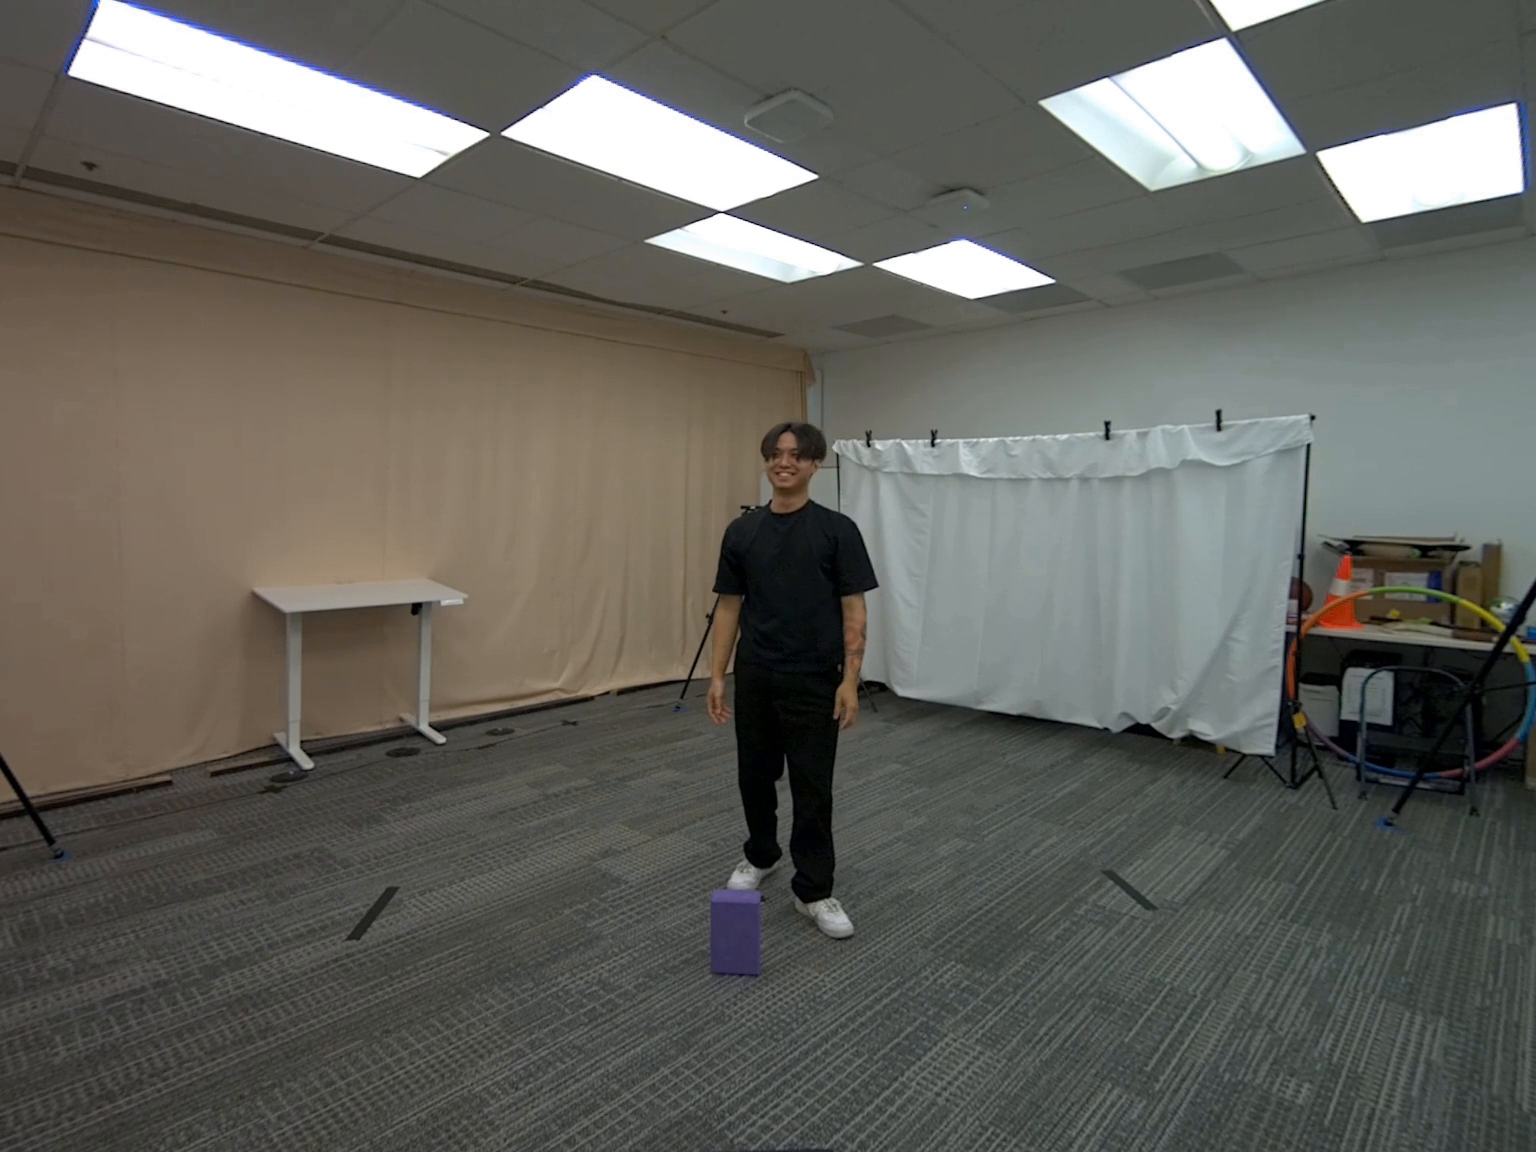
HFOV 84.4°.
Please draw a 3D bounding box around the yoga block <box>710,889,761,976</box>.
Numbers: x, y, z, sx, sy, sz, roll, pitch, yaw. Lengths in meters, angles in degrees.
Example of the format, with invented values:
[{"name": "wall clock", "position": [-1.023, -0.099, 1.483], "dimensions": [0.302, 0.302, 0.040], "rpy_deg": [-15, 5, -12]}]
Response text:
[{"name": "yoga block", "position": [-0.095, 1.071, 2.521], "dimensions": [0.149, 0.229, 0.076], "rpy_deg": [1, 2, 3]}]
